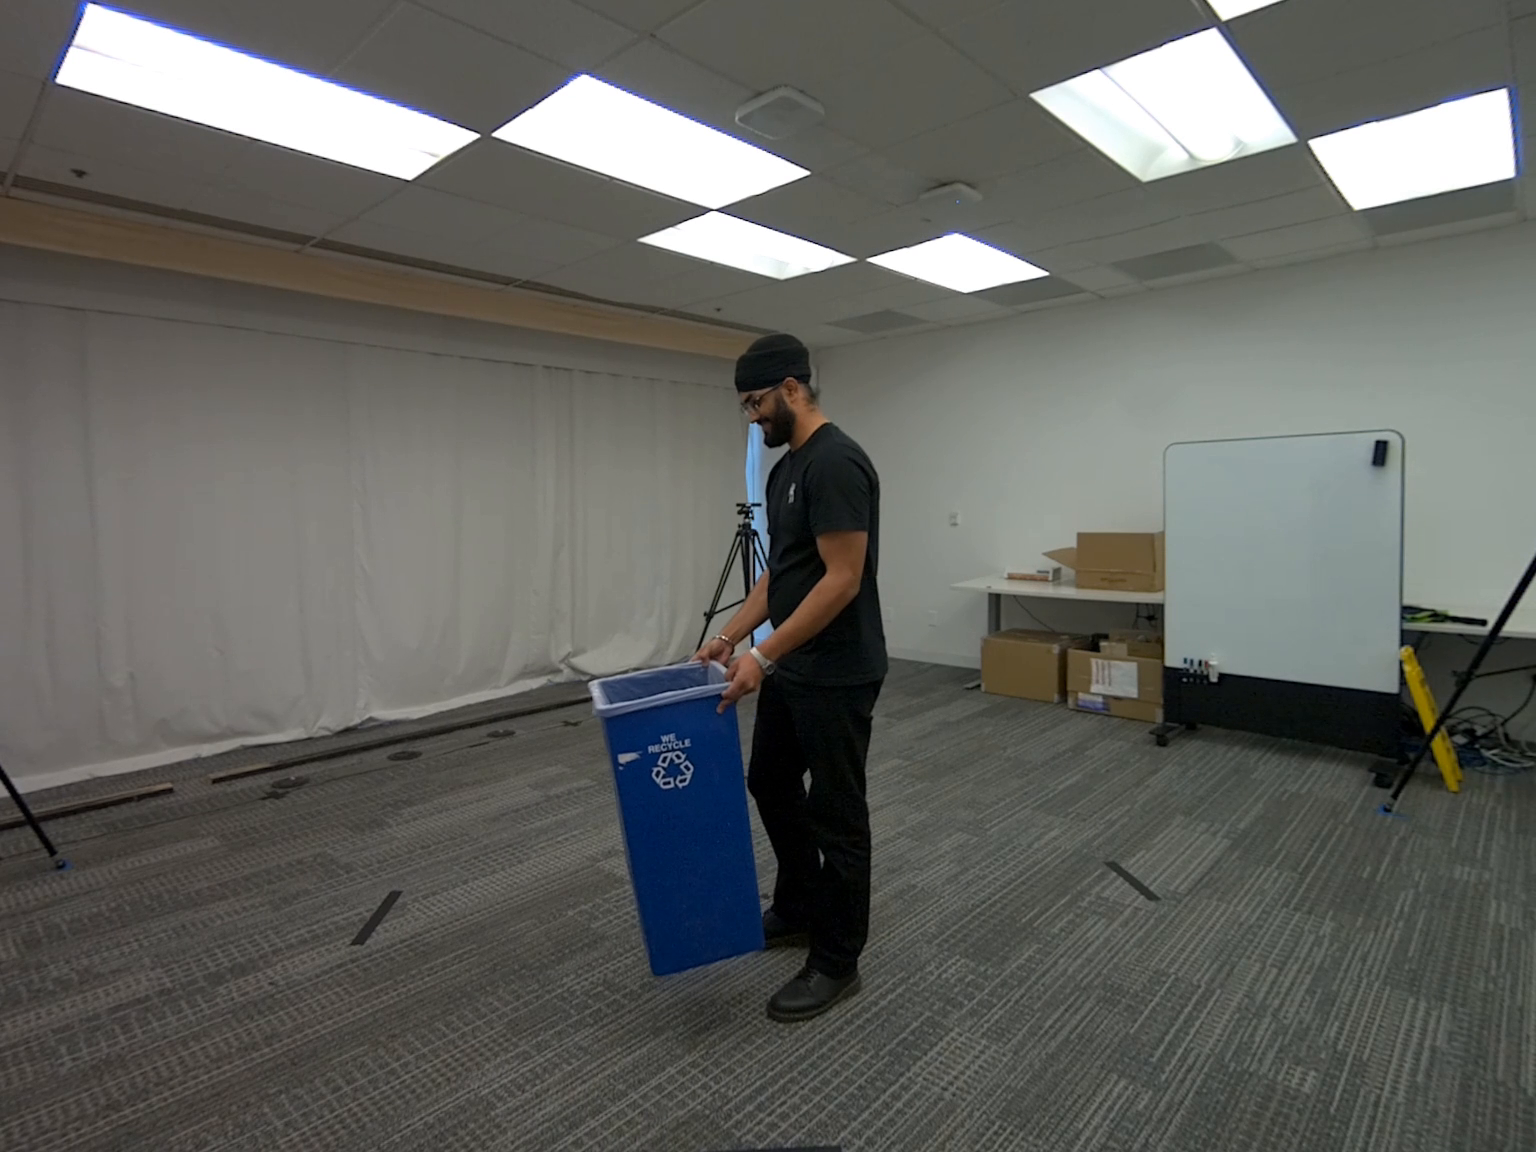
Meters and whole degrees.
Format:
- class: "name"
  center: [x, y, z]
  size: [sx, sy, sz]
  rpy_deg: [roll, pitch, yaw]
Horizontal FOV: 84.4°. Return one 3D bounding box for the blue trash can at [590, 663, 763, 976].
- class: "blue trash can"
  center: [-0.227, 0.640, 2.283]
  size: [0.370, 0.711, 0.384]
  rpy_deg: [-10, 4, -13]
